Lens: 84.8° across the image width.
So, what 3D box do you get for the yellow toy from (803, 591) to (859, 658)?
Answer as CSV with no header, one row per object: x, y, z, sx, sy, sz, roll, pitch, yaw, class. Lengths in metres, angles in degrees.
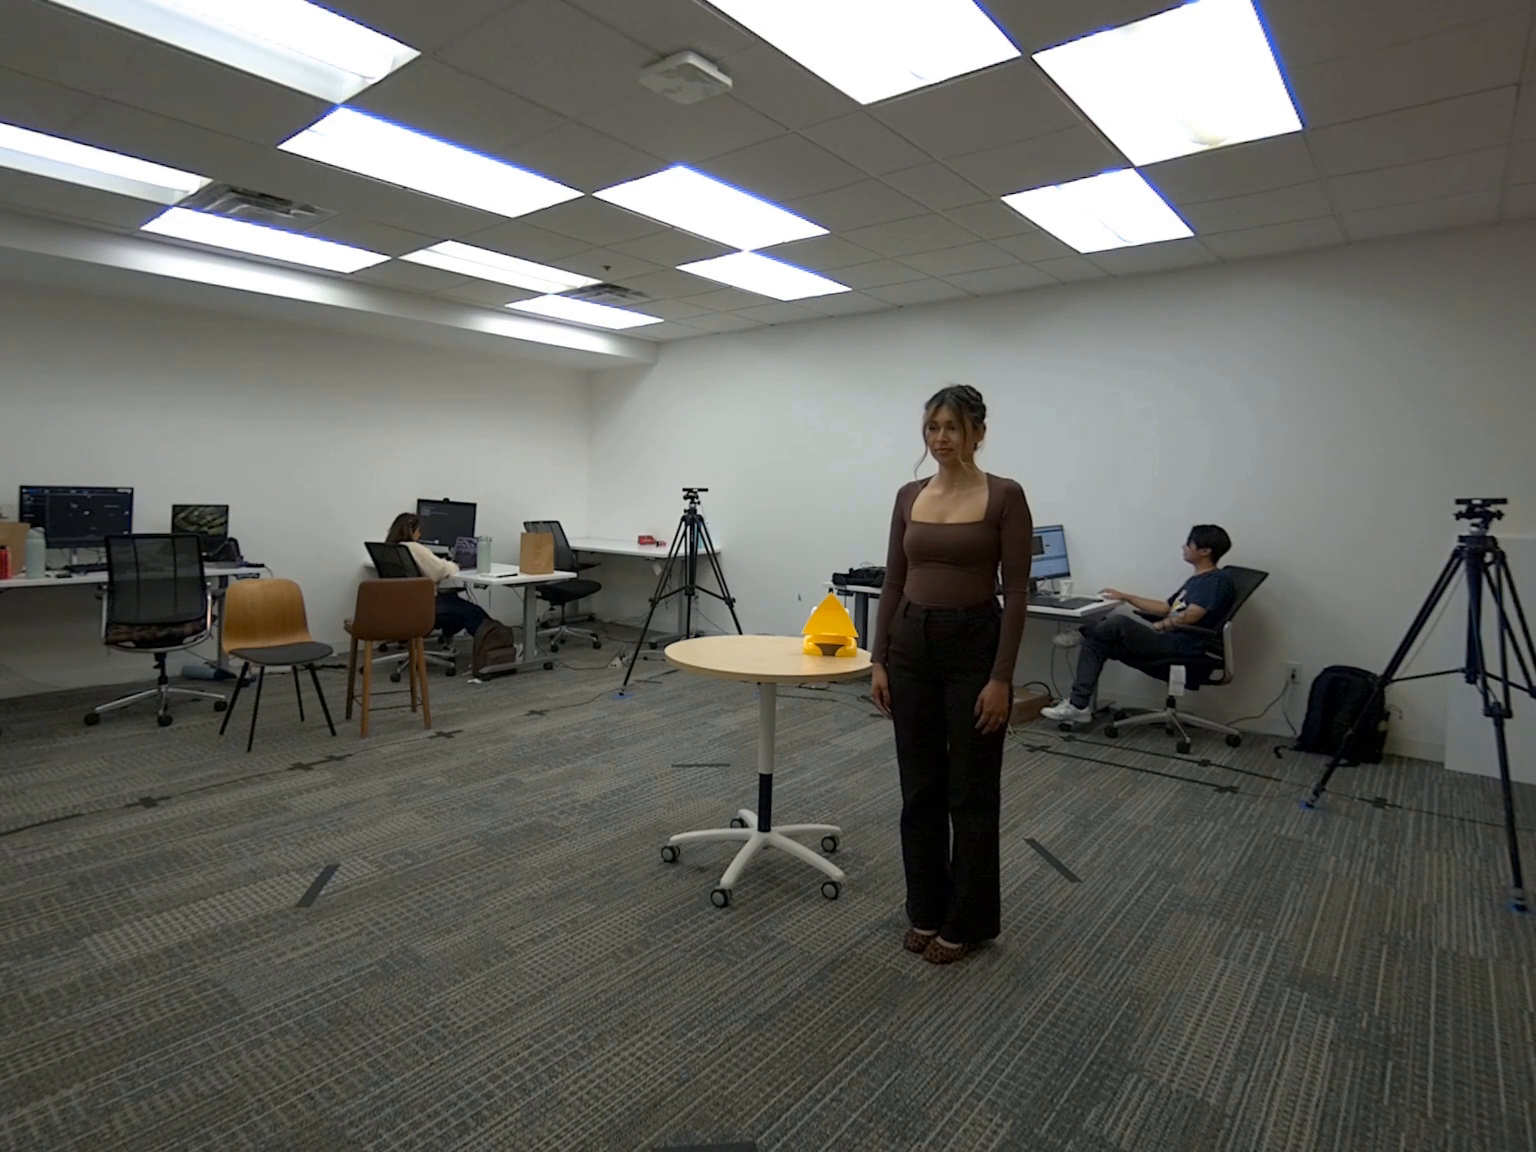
0.224,0.167,3.137,0.206,0.230,0.192,2,4,6,yellow toy
